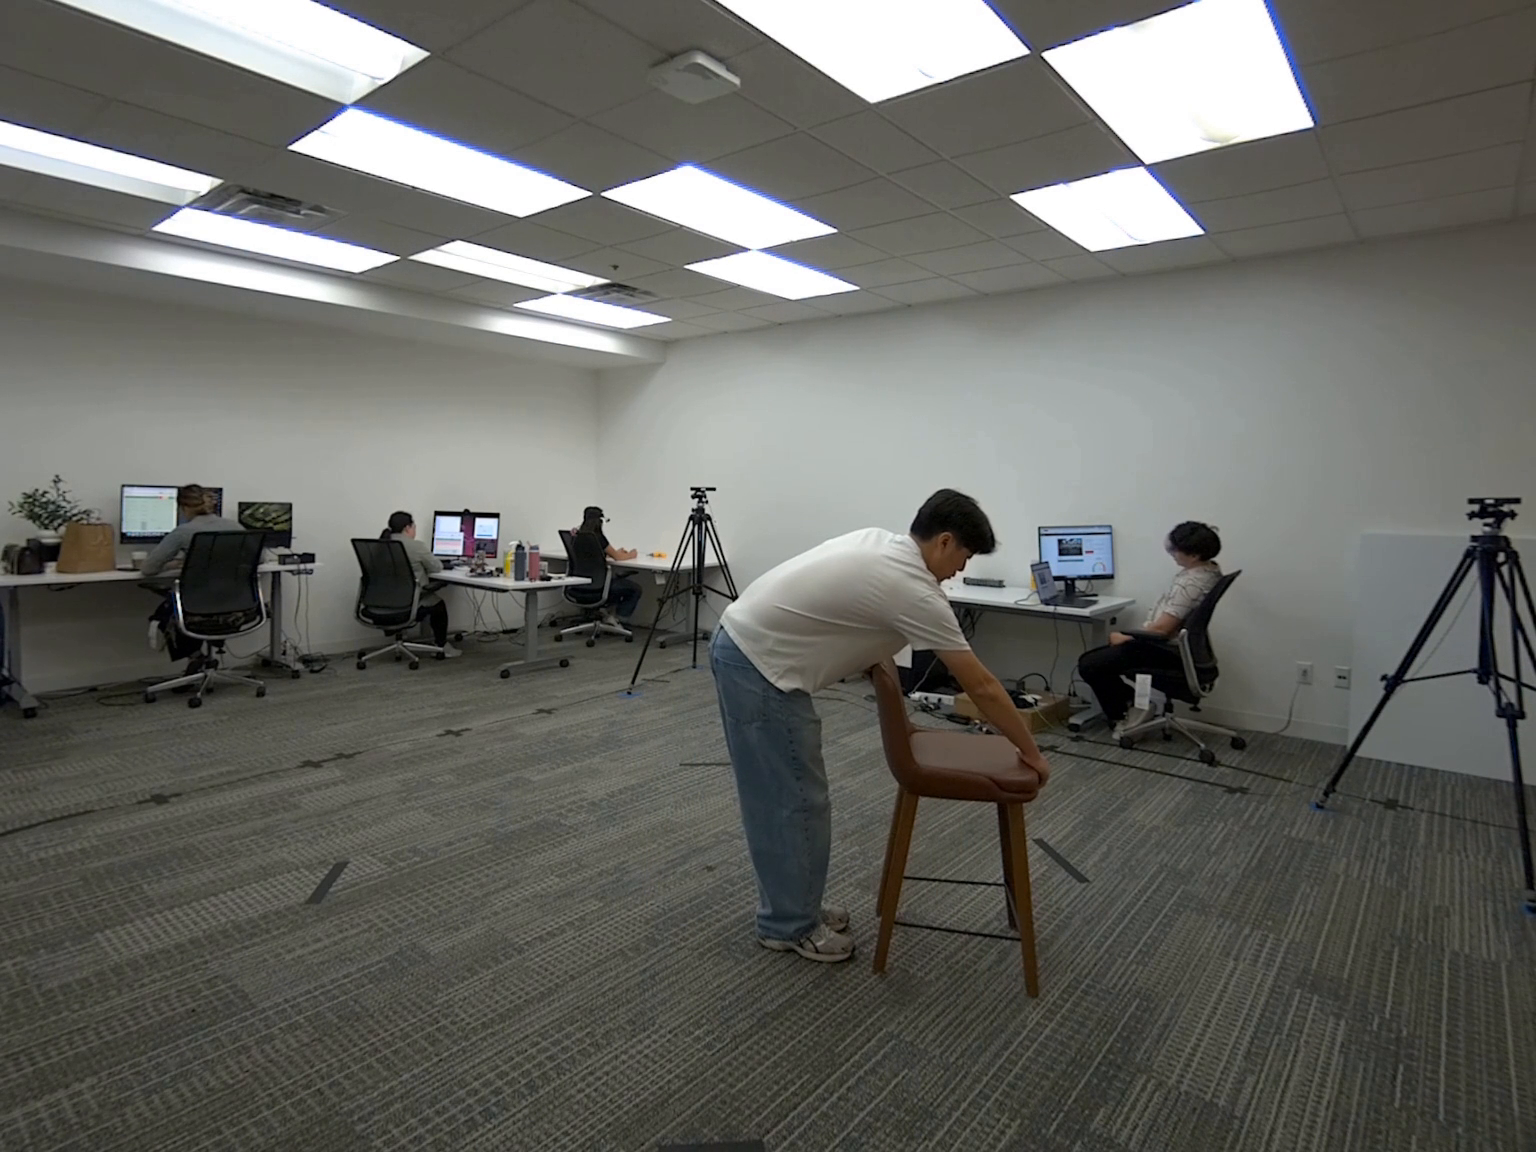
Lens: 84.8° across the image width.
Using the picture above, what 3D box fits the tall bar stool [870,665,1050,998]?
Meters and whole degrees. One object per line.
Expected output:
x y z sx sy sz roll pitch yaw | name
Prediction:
0.552 0.702 2.571 0.474 0.888 0.452 0 3 11 | tall bar stool
